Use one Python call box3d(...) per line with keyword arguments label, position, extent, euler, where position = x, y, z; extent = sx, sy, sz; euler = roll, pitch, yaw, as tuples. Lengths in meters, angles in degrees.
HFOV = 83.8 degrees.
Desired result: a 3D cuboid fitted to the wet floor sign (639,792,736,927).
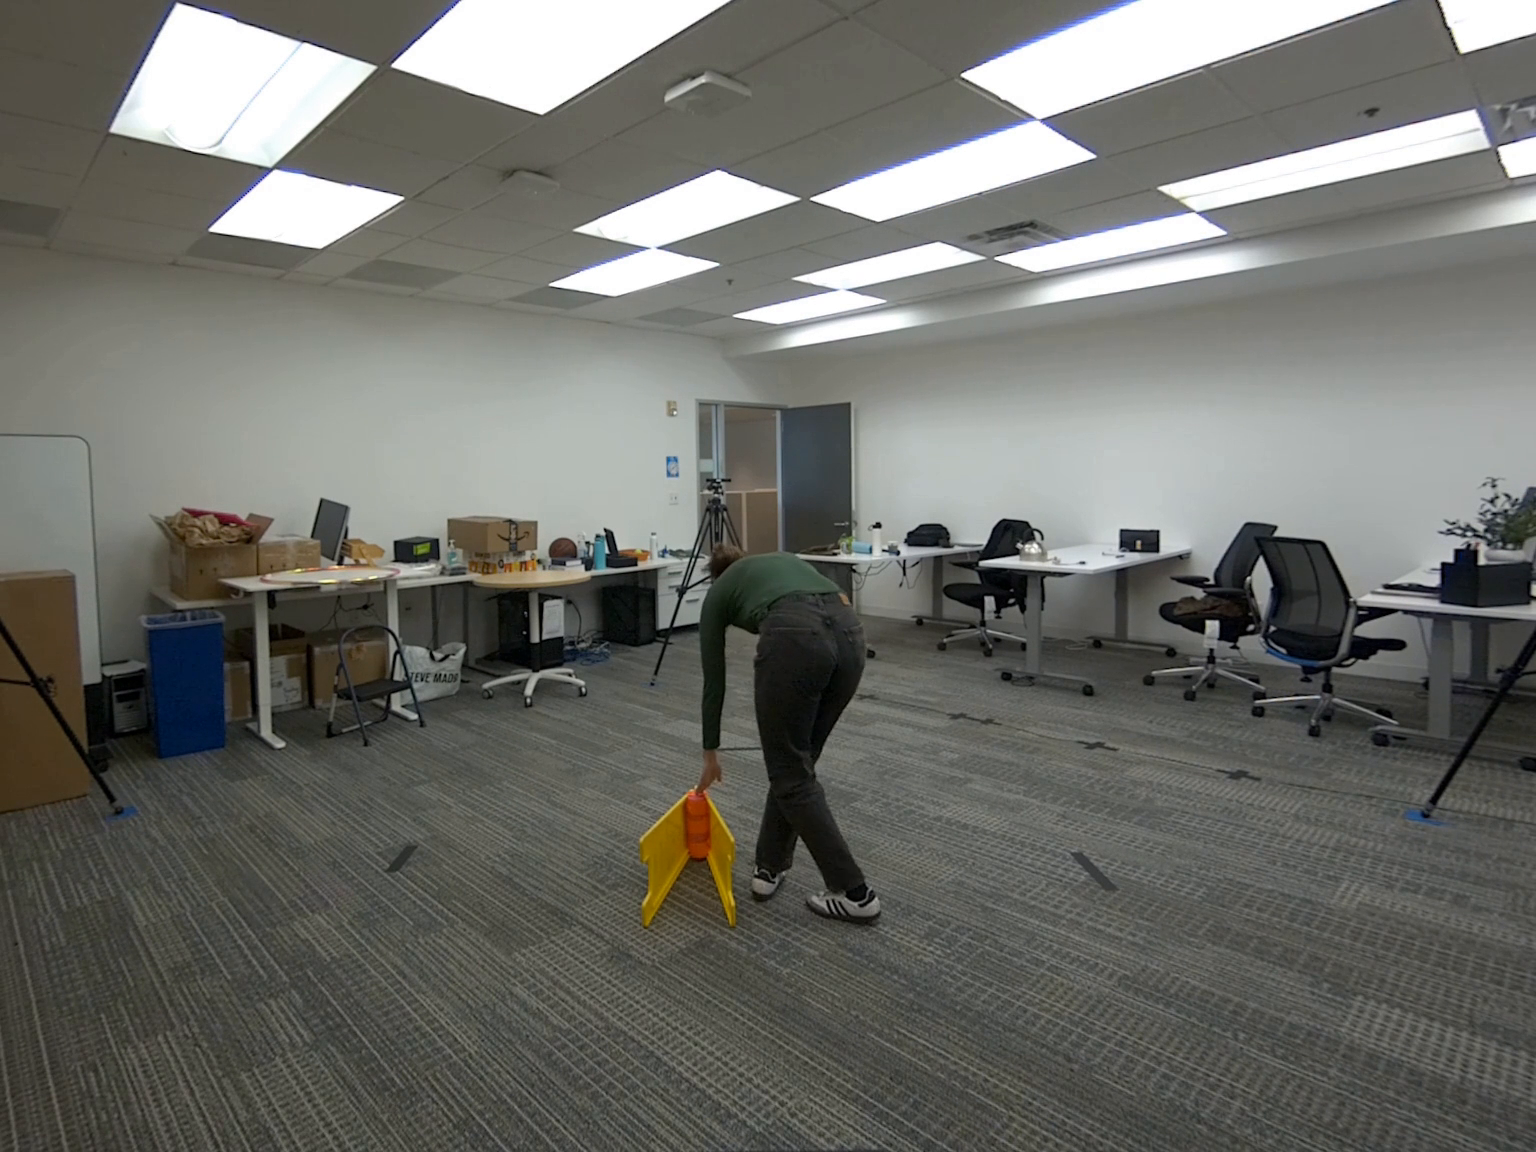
box3d(label="wet floor sign", position=(-0.258, 0.927, 2.988), extent=(0.290, 0.281, 0.648), euler=(-1, 4, -1))
